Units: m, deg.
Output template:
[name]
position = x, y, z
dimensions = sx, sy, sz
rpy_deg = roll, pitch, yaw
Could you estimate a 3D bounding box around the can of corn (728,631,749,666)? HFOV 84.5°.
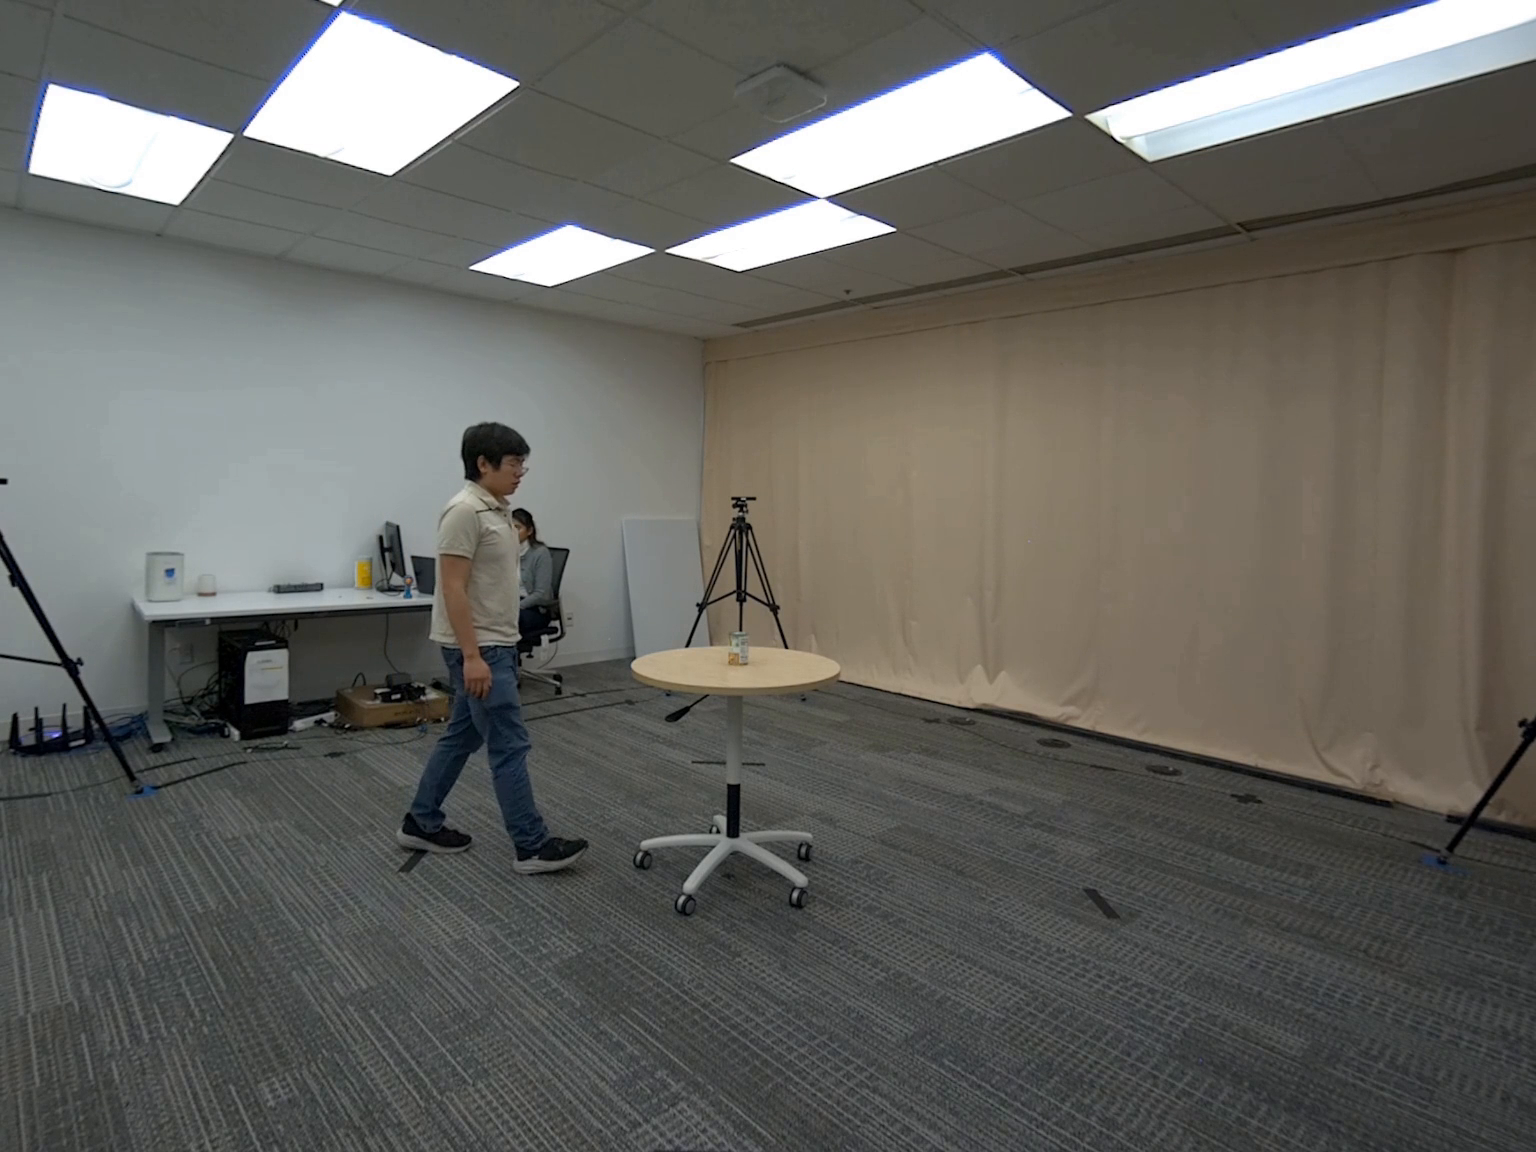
[can of corn]
position = -0.119, 0.267, 3.103
dimensions = 0.074, 0.110, 0.074
rpy_deg = 0, 5, -1
